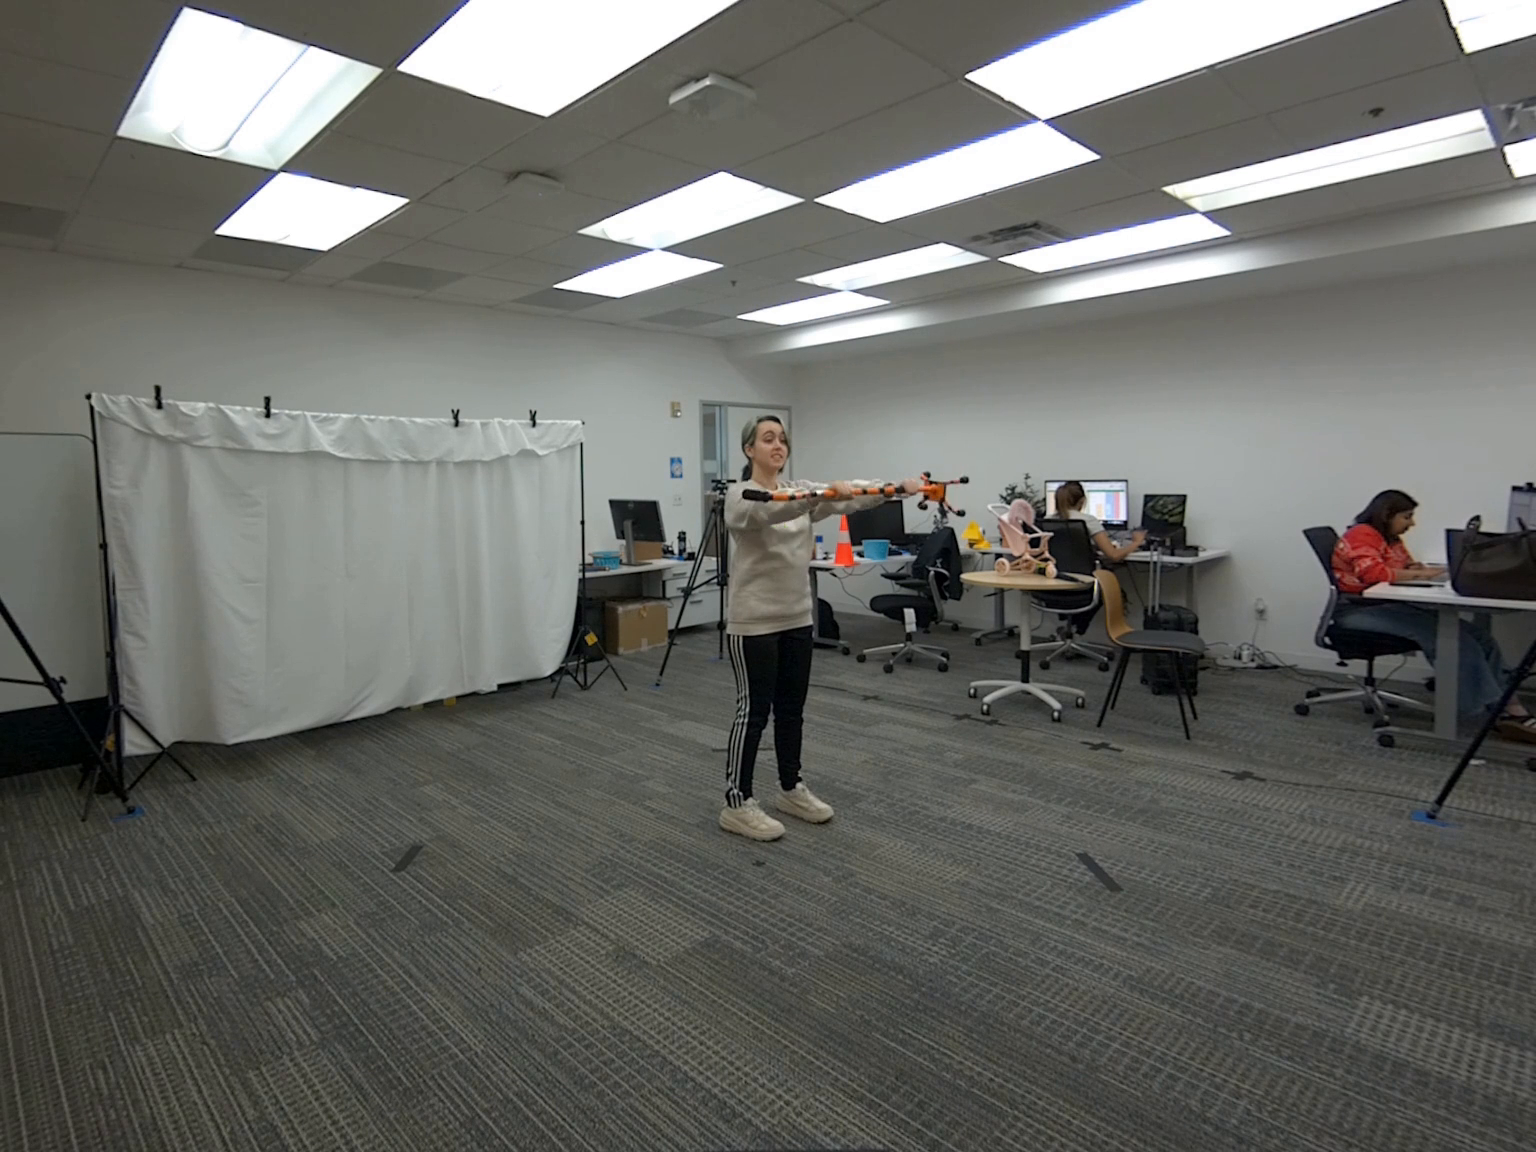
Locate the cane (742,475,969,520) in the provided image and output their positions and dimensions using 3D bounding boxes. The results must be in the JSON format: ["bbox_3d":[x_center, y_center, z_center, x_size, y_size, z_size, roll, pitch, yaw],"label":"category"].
[{"bbox_3d":[0.320,-0.280,2.954,0.885,0.150,0.214,-6,14,-38],"label":"cane"}]
